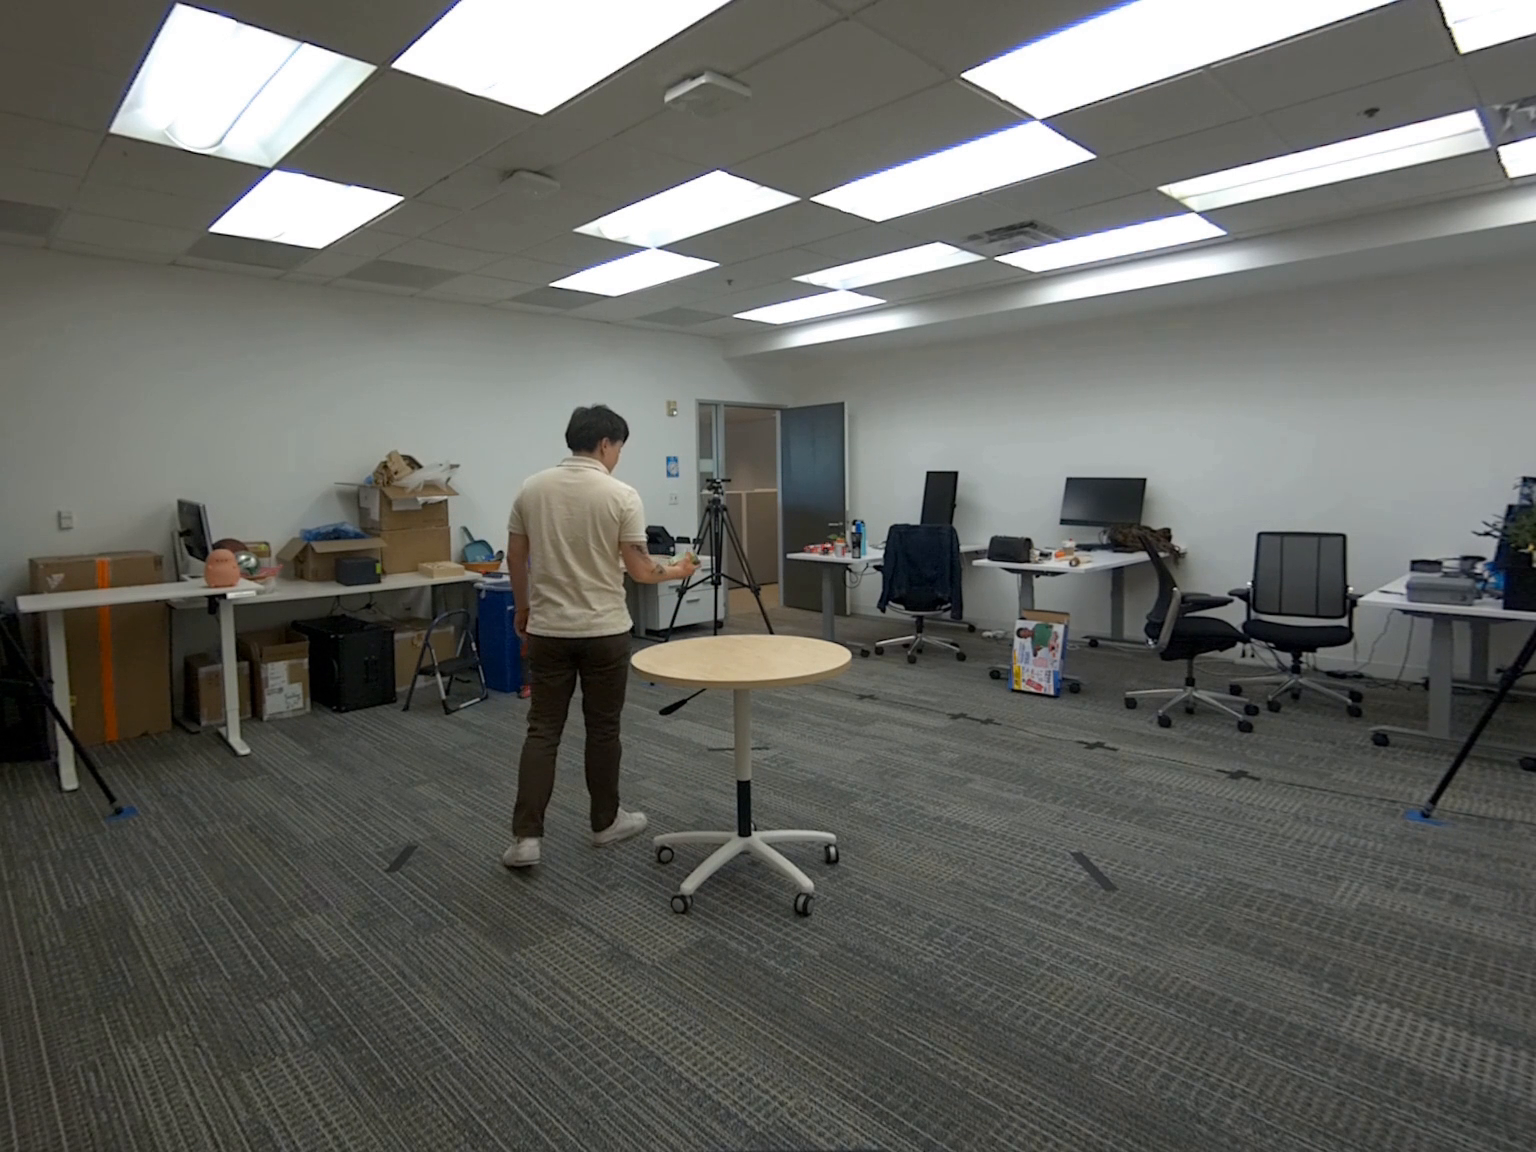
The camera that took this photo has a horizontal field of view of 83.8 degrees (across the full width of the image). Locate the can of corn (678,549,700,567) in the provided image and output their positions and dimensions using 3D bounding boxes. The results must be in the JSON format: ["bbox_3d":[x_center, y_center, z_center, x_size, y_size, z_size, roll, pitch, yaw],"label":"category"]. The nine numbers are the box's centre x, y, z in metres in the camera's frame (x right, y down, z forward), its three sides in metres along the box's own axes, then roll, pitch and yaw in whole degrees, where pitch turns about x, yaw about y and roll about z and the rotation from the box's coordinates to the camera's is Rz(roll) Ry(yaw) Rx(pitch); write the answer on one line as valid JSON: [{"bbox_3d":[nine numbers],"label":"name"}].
[{"bbox_3d":[-0.327,-0.064,3.428,0.111,0.074,0.074,-24,5,2],"label":"can of corn"}]
